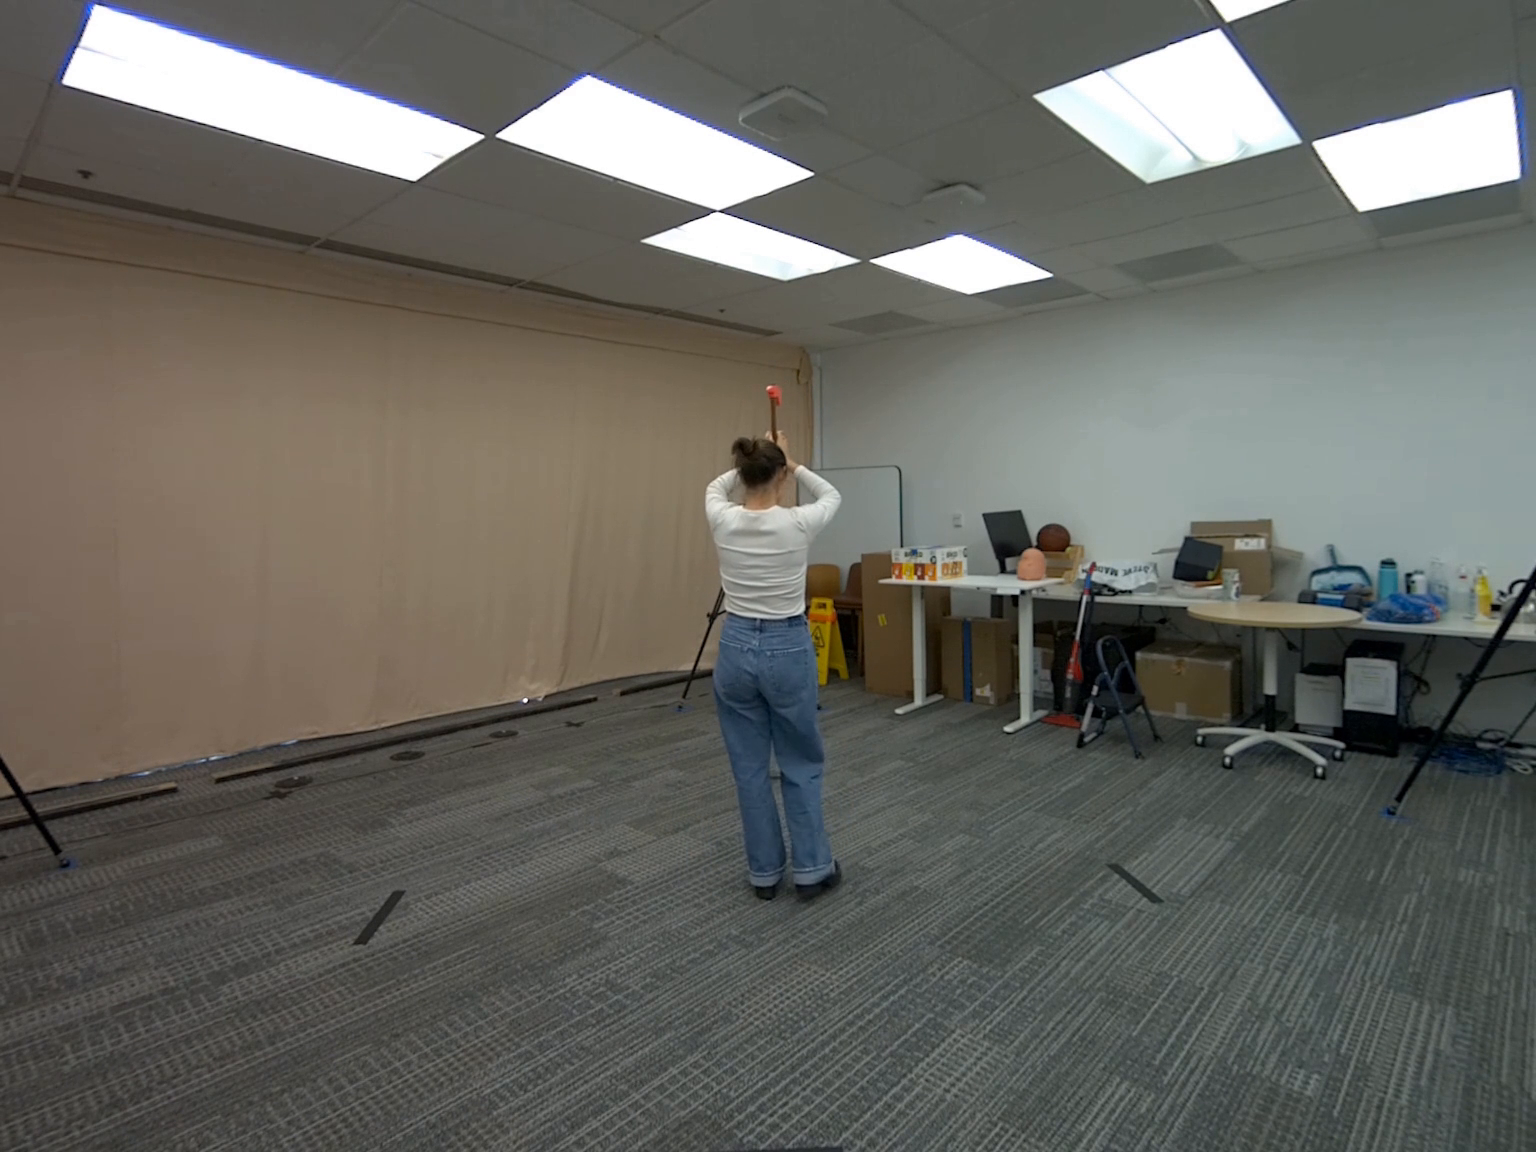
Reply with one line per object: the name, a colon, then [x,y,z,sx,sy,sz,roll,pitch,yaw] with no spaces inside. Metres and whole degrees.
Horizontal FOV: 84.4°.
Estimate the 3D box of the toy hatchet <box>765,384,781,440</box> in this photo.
toy hatchet: [0.036,-0.596,3.173,0.030,0.266,0.130,2,24,16]
